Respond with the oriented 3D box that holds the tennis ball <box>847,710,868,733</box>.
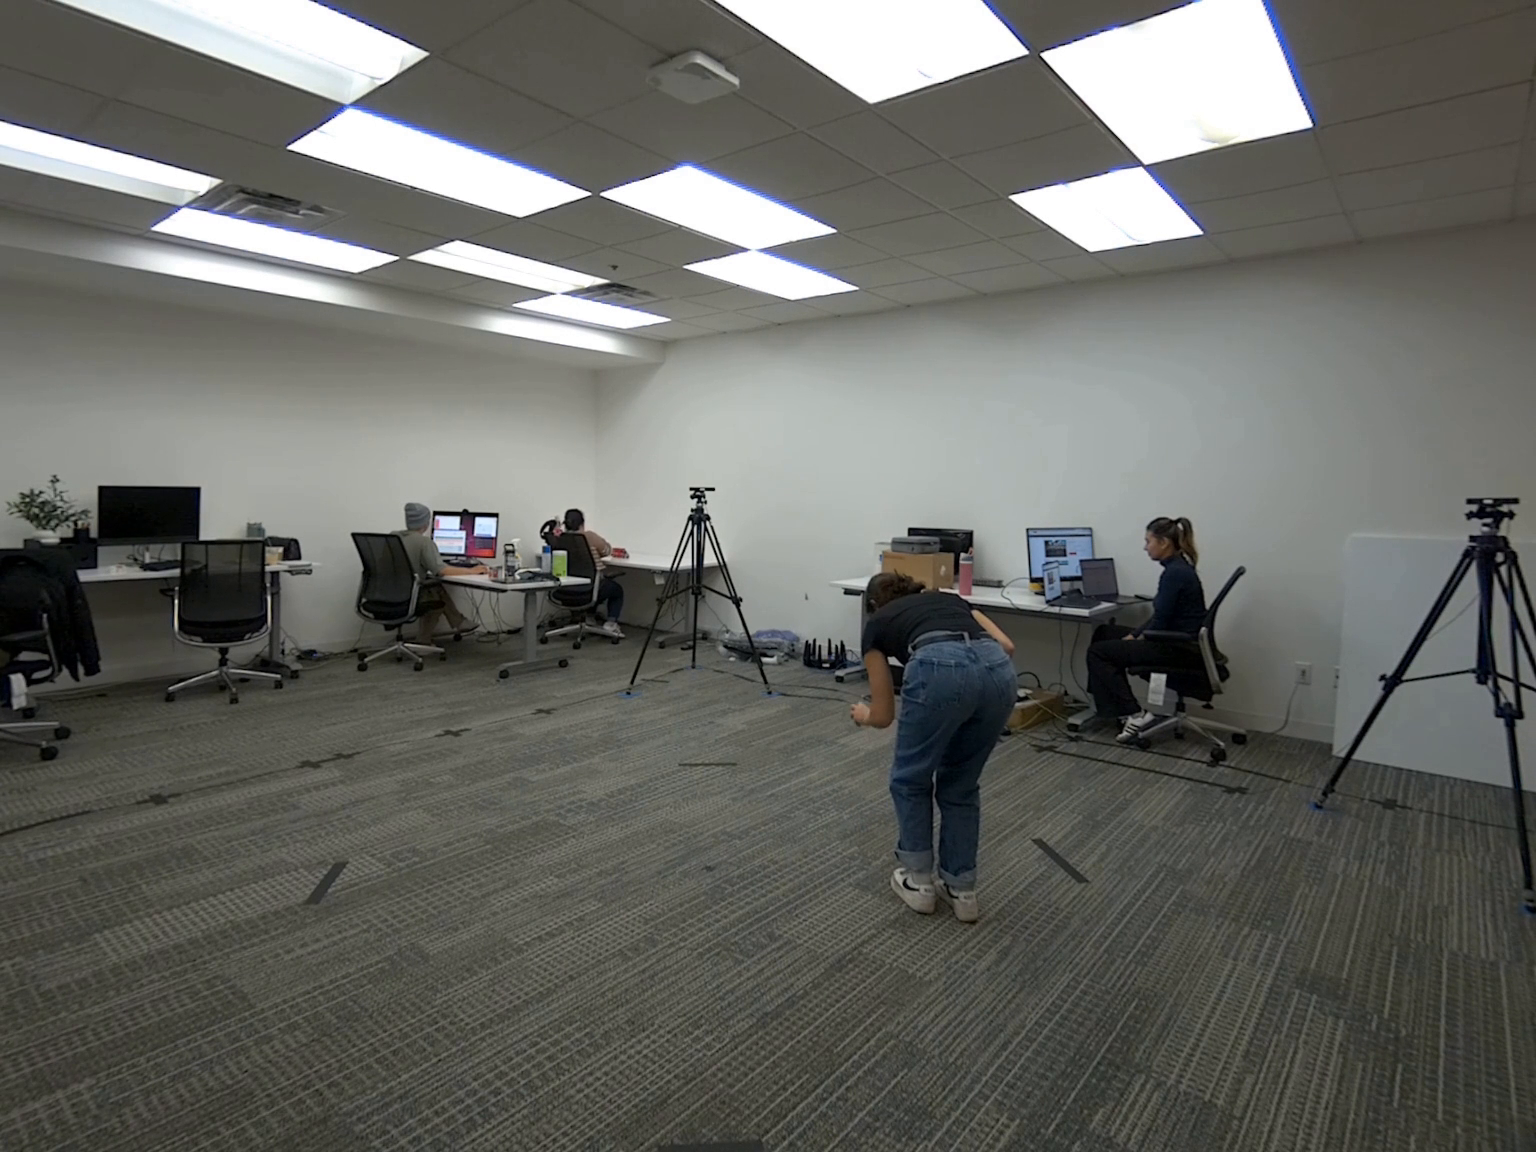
[{"bbox_3d":[0.346,0.562,3.271,0.066,0.066,0.067,1,4,-2],"label":"tennis ball"}]
